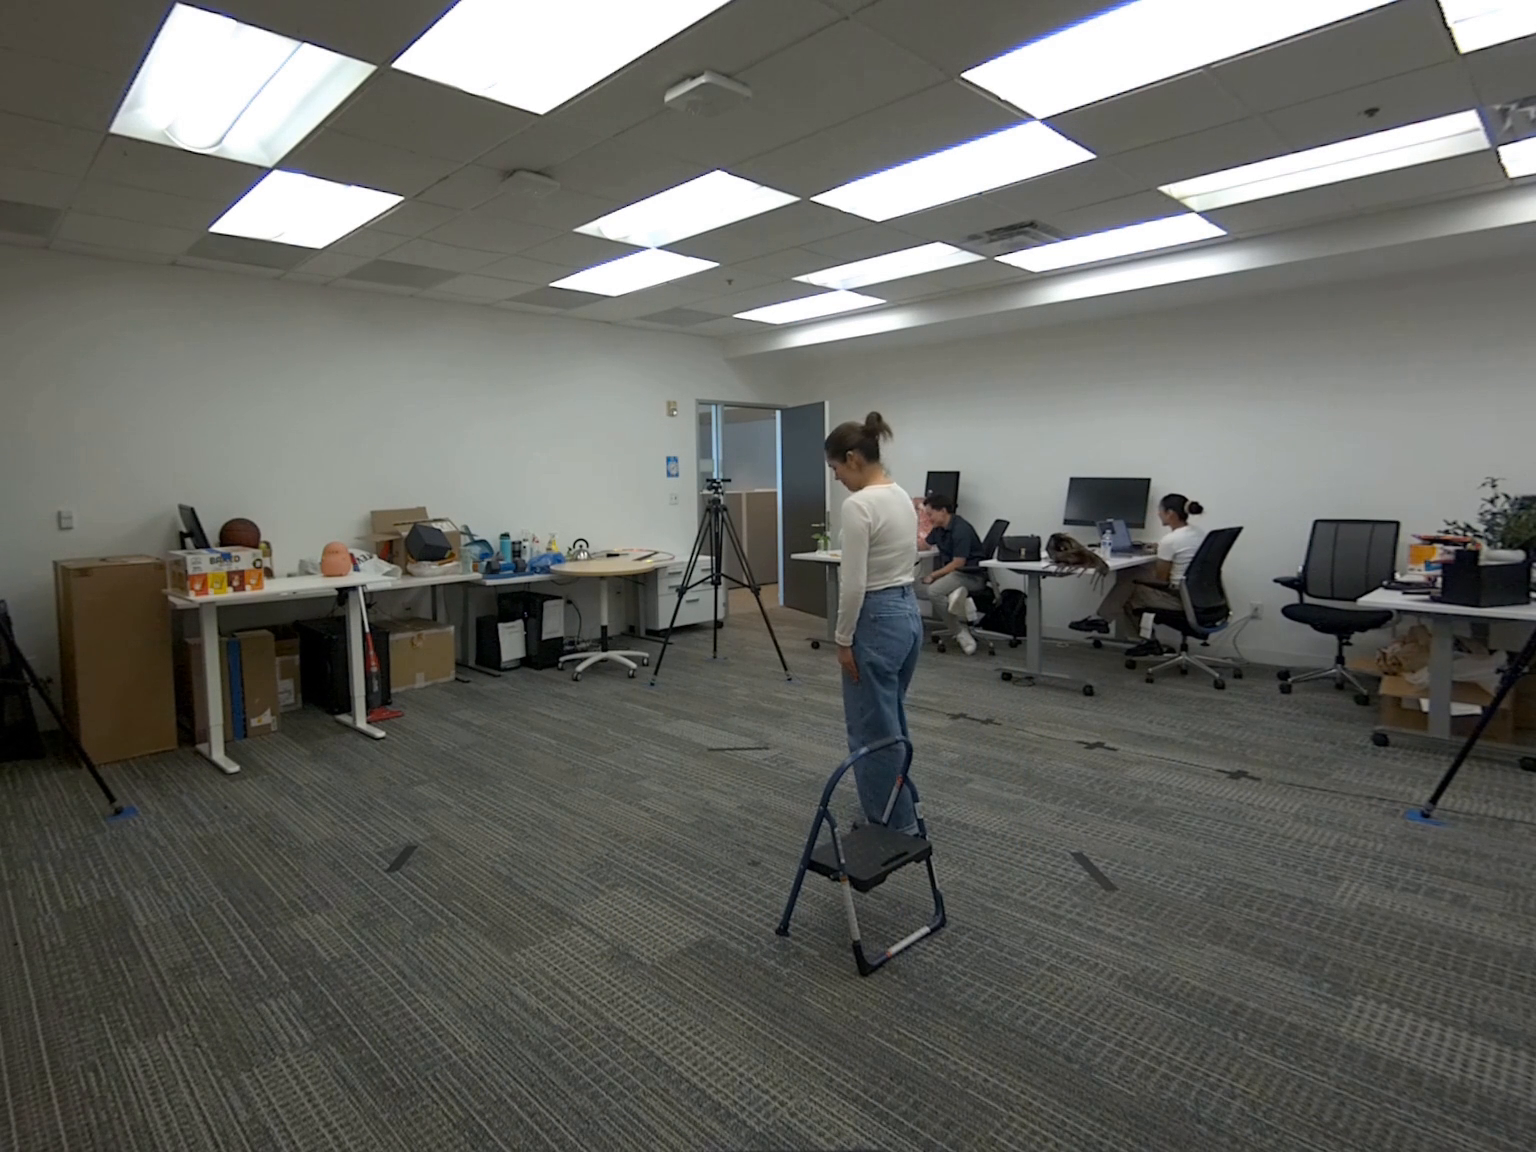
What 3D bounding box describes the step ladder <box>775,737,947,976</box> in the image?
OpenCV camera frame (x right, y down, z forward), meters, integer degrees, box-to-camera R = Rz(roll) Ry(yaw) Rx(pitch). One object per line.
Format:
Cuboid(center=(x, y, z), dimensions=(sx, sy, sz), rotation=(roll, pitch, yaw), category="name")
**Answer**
Cuboid(center=(0.287, 0.791, 2.627), dimensions=(0.360, 0.604, 0.419), rotation=(4, 6, 45), category="step ladder")
